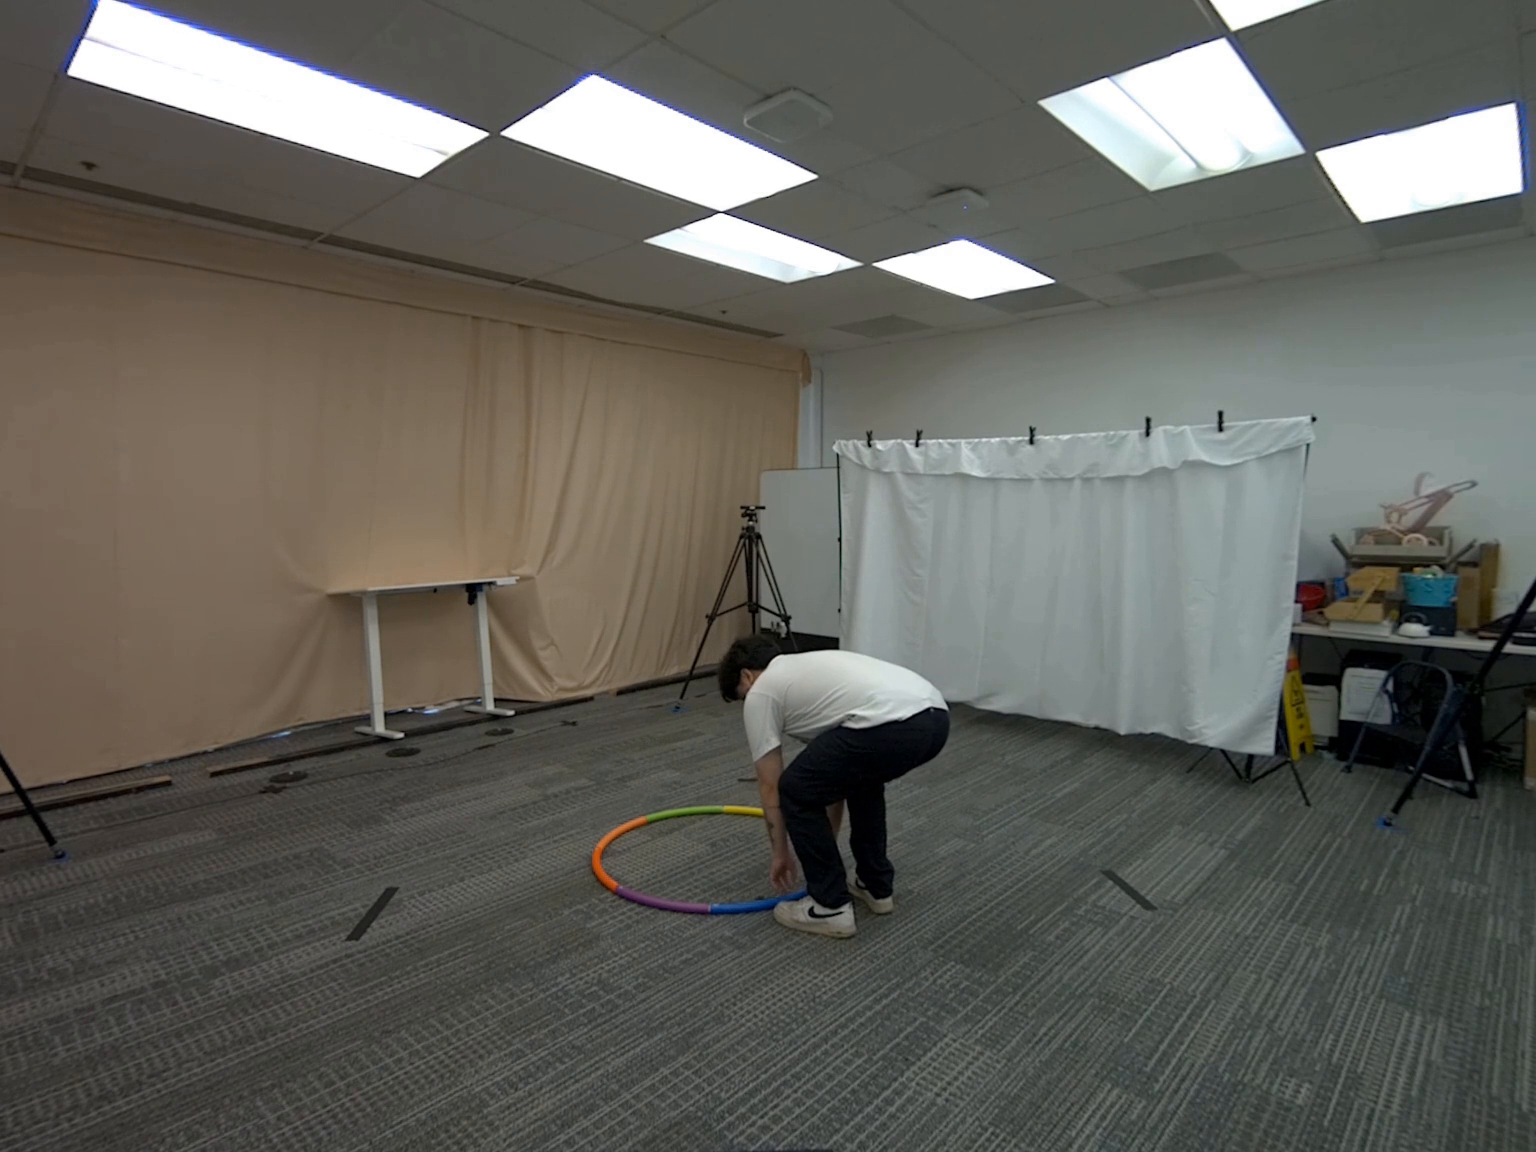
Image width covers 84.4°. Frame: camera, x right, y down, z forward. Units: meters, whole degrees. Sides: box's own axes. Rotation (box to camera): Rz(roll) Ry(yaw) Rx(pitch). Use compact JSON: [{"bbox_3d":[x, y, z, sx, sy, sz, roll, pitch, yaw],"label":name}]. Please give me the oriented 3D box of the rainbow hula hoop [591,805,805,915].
[{"bbox_3d":[-0.203,1.089,3.349,0.984,0.051,0.989,0,5,-2],"label":"rainbow hula hoop"}]
